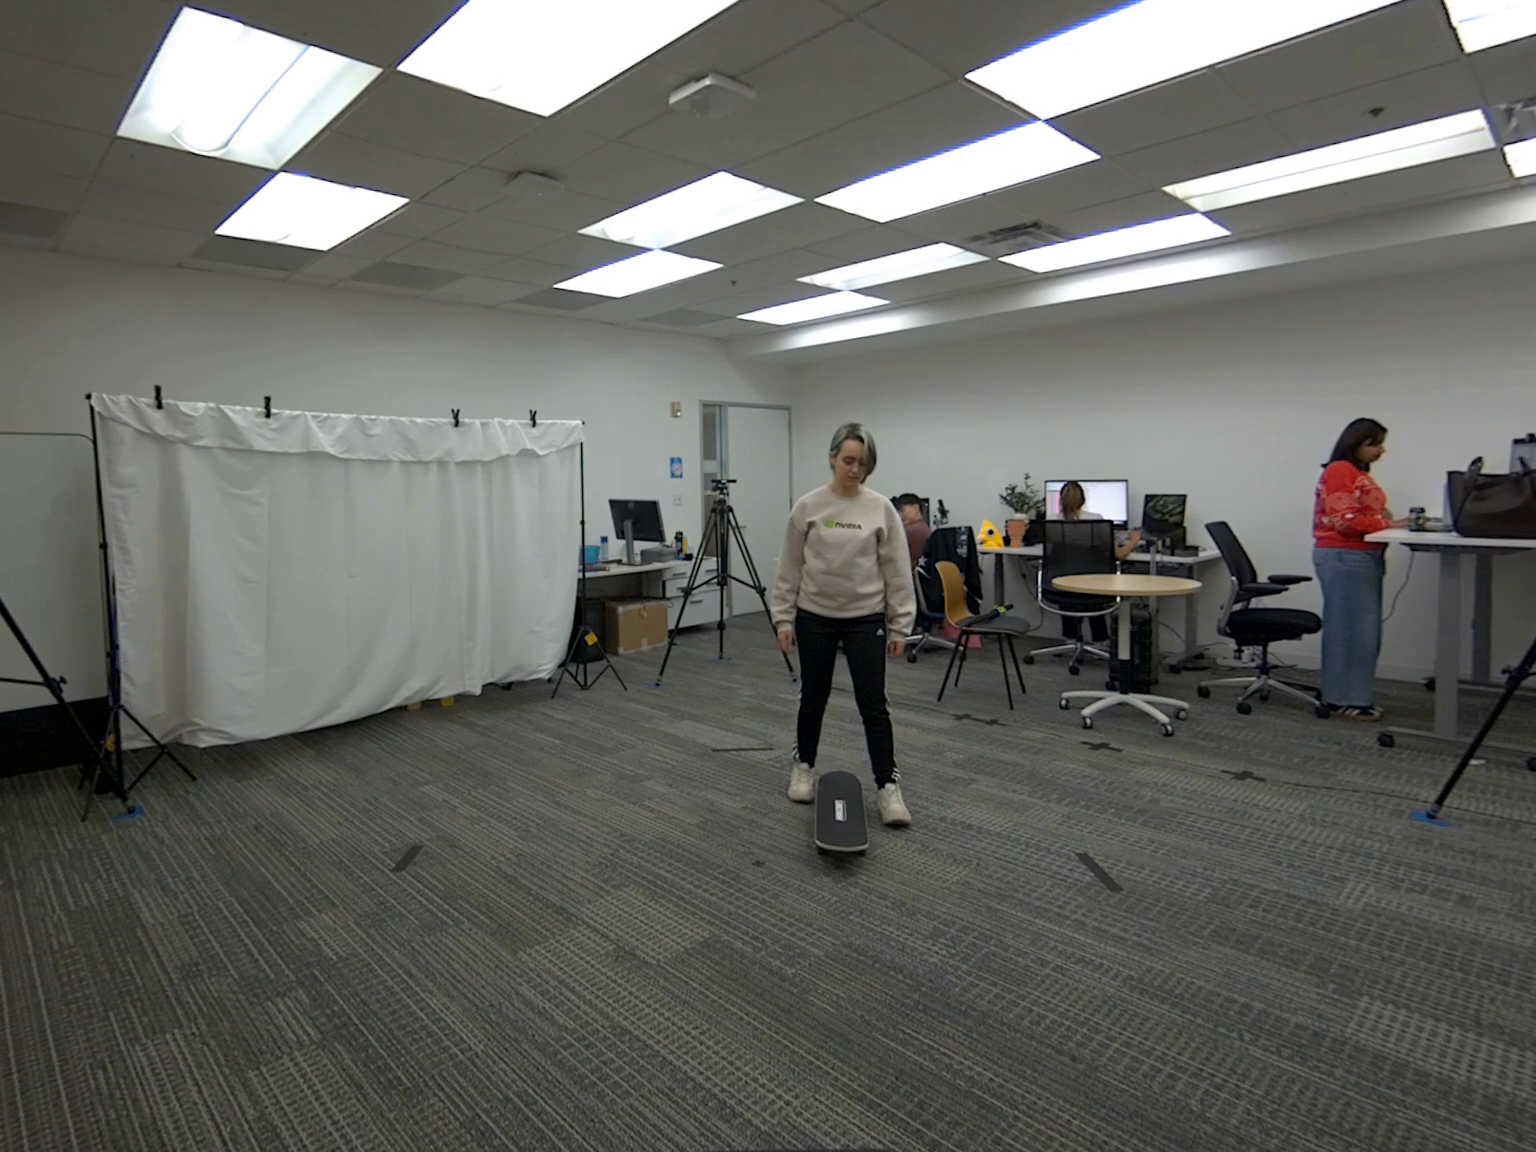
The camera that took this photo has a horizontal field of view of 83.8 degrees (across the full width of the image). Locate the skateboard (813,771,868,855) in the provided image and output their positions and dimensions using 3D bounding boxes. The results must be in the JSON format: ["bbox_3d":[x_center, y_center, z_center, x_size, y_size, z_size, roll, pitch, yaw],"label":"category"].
[{"bbox_3d":[0.290,0.956,3.372,0.194,0.110,0.785,0,6,3],"label":"skateboard"}]
